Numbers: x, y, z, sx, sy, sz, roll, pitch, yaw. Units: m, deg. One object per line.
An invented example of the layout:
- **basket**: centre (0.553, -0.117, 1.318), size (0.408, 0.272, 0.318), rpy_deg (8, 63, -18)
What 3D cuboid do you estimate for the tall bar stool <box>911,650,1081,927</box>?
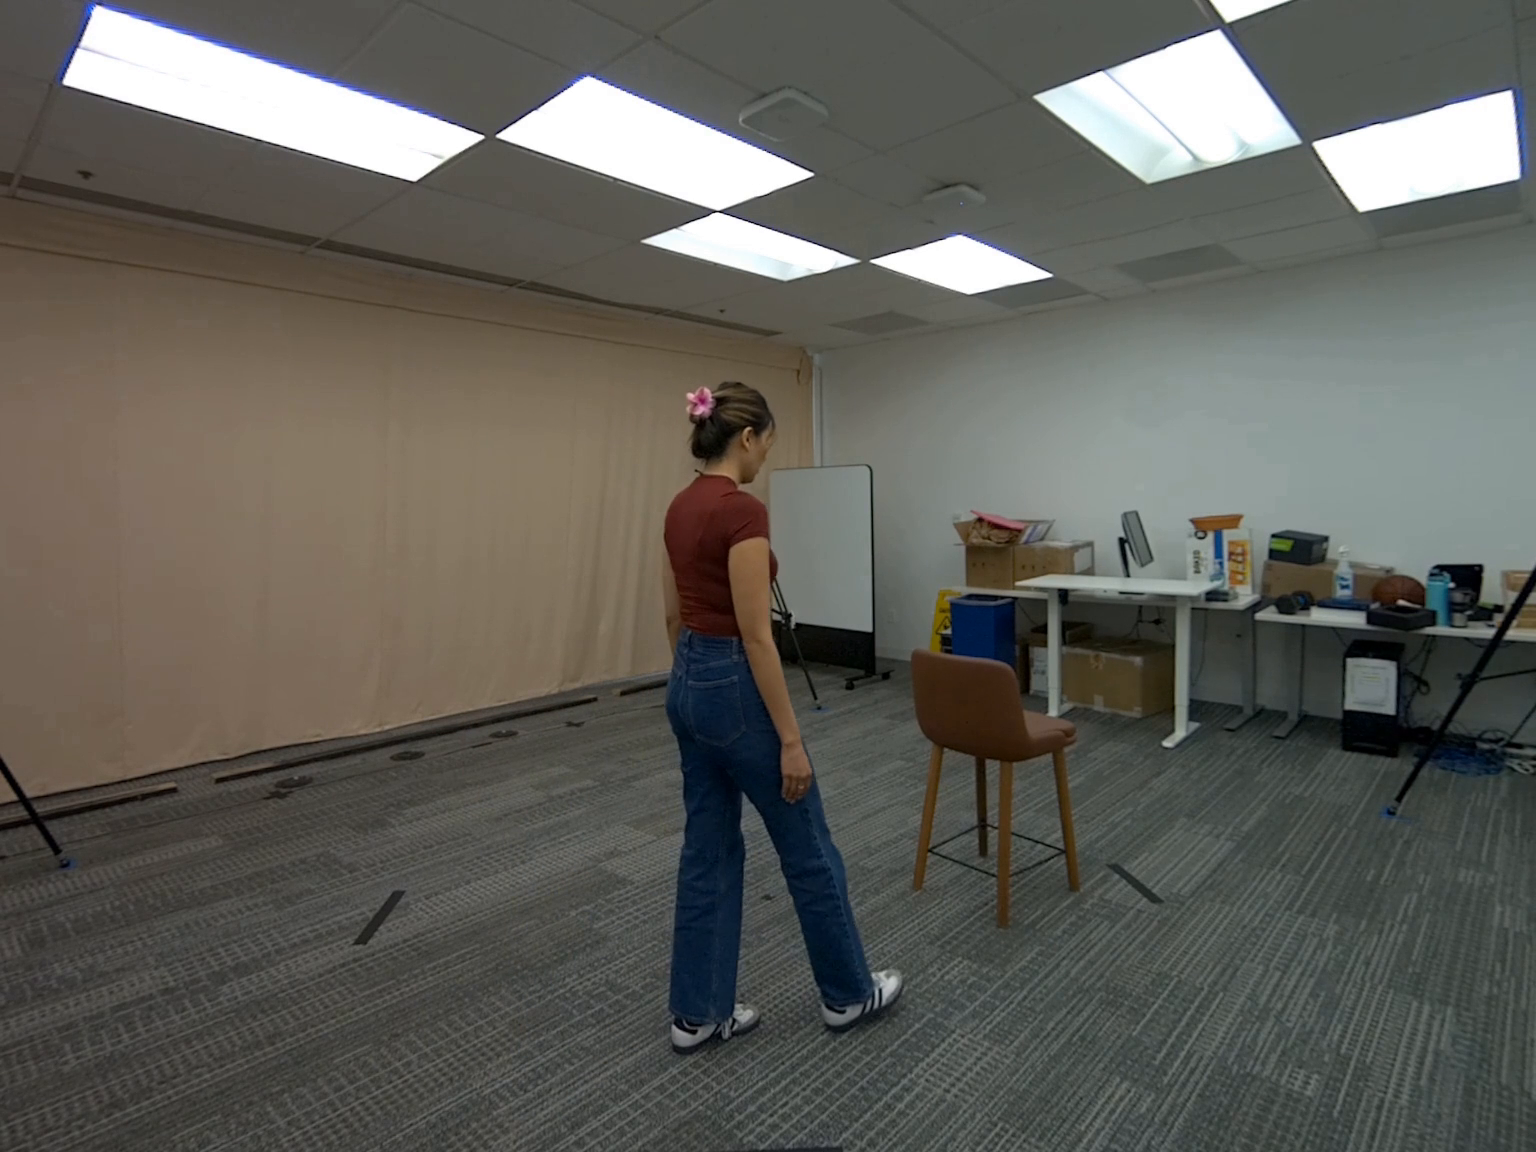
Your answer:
- **tall bar stool**: centre (0.807, 0.691, 2.996), size (0.454, 0.887, 0.471), rpy_deg (-5, 5, -40)
